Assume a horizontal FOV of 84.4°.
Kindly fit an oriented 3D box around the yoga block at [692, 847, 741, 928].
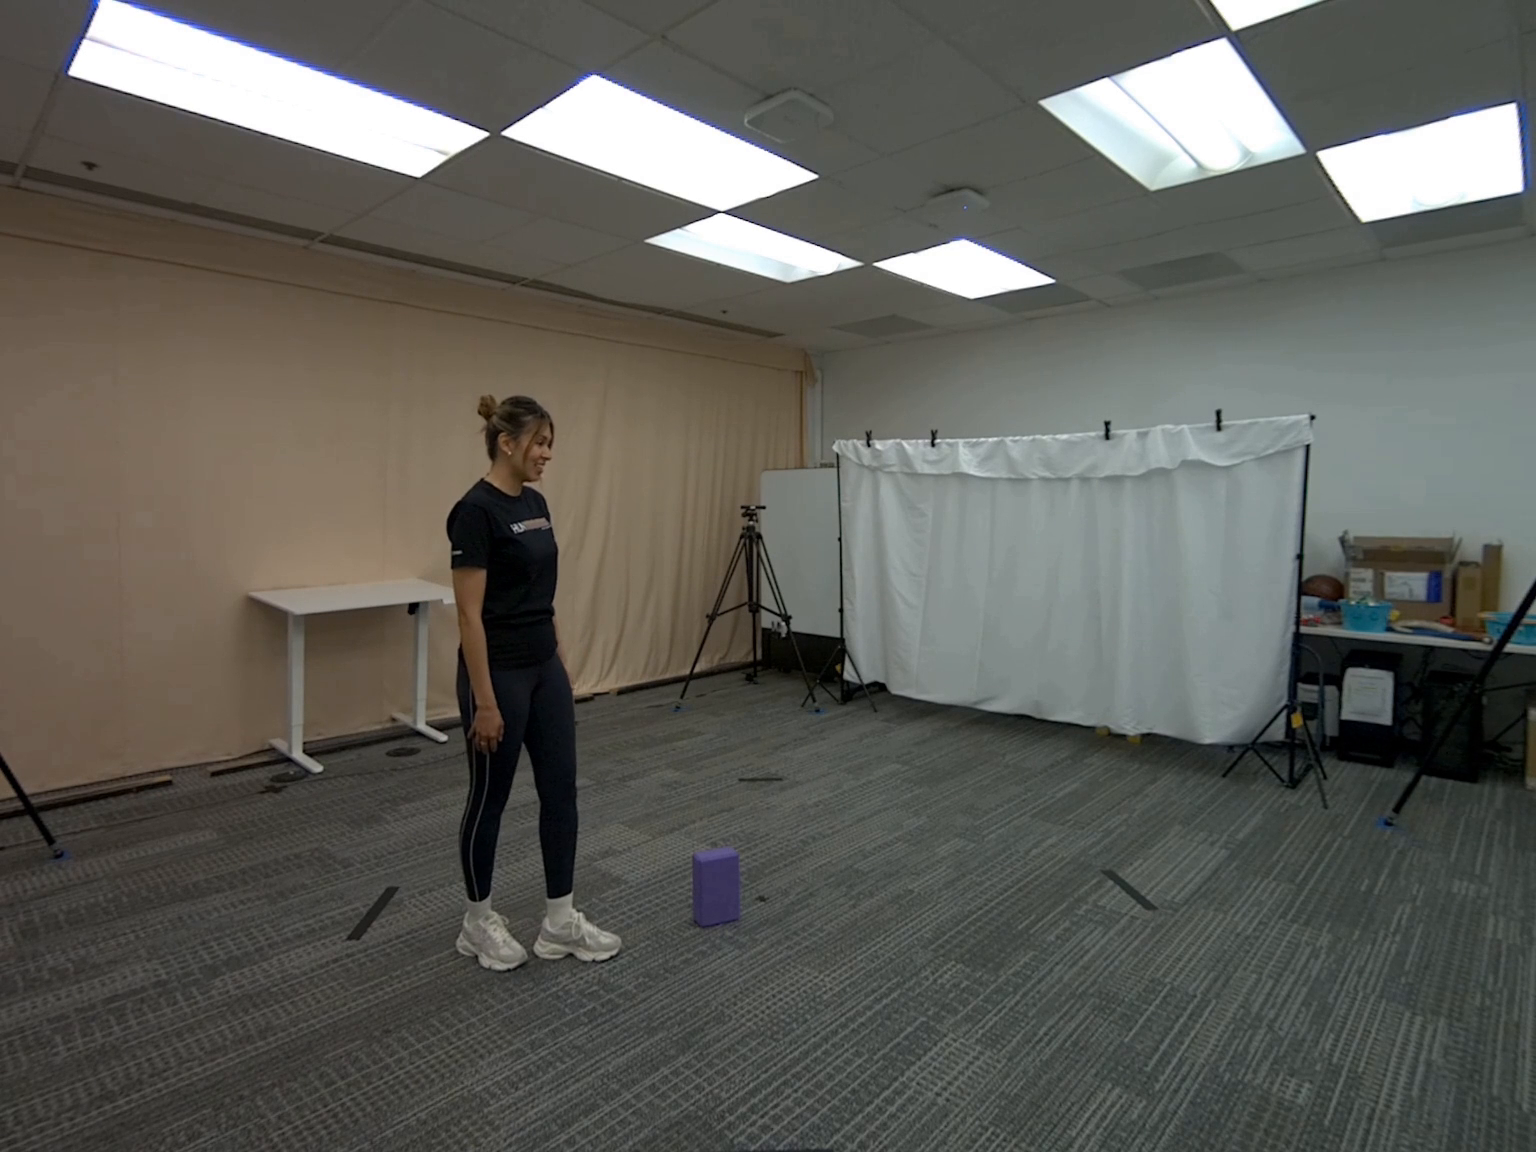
[{"bbox_3d":[-0.171,1.040,2.822,0.145,0.229,0.078,-1,3,-25],"label":"yoga block"}]
